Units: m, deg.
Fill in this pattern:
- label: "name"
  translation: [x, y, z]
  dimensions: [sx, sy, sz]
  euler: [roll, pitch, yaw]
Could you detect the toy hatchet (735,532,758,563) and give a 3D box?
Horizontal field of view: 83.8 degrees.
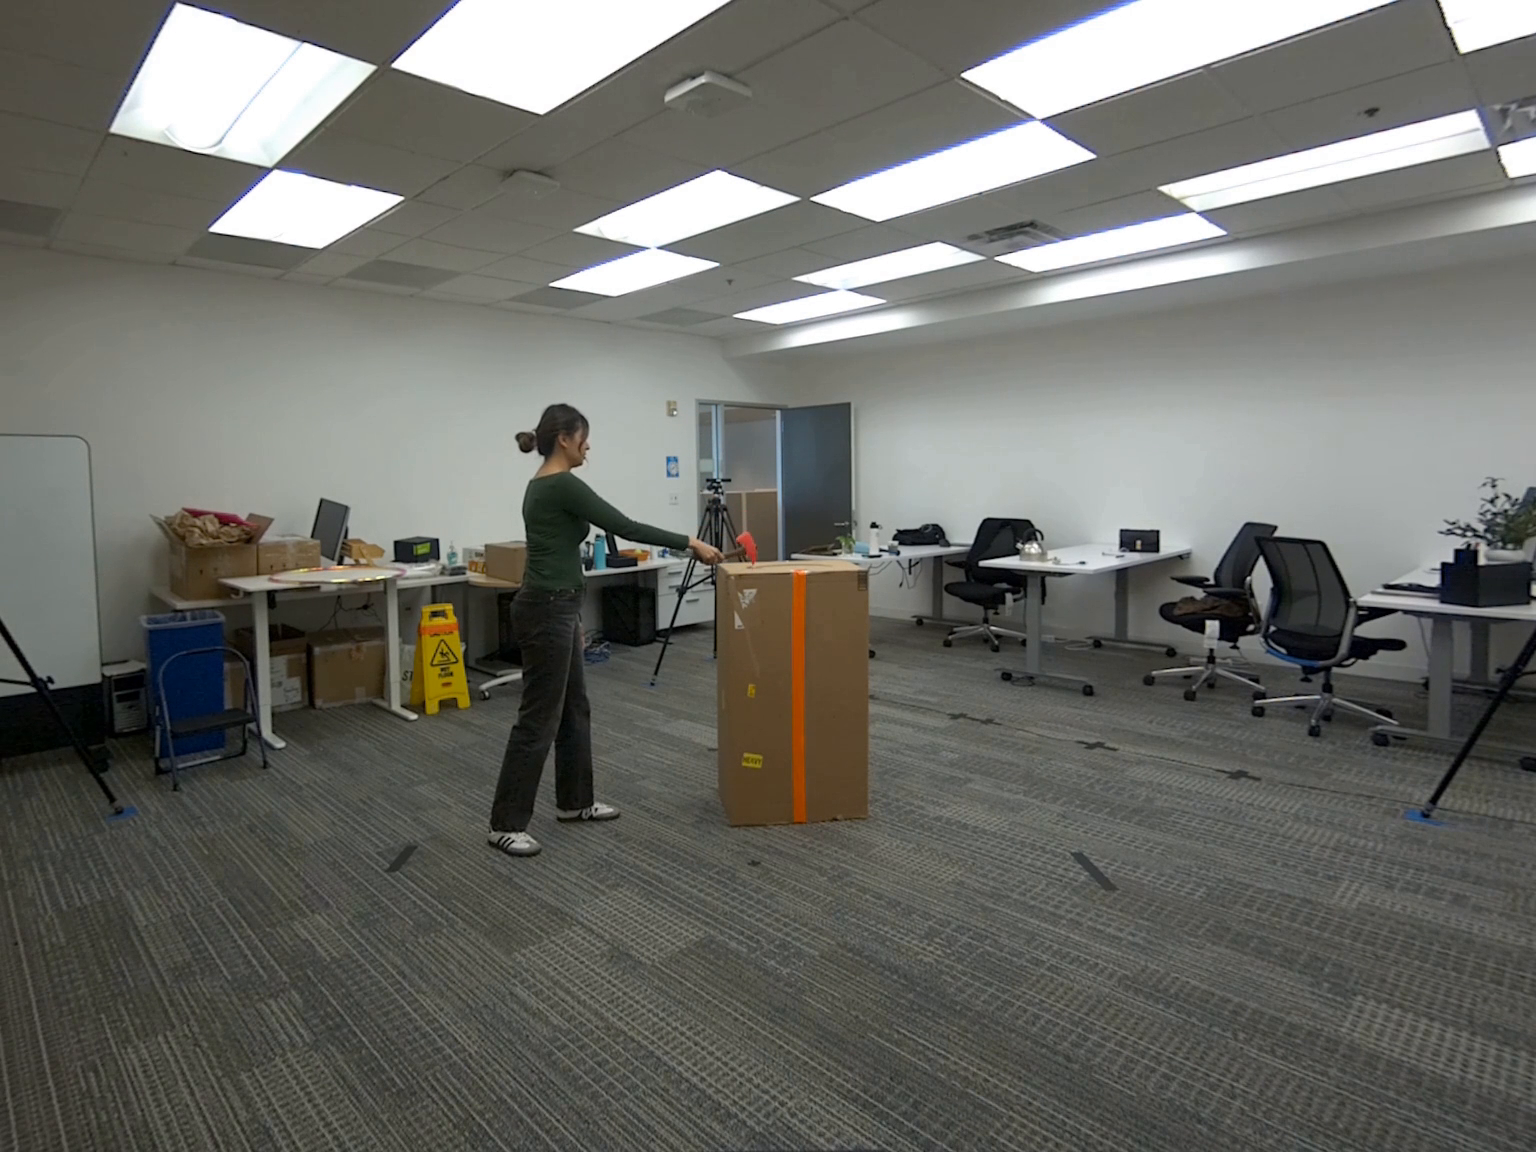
- label: "toy hatchet"
  translation: [-0.170, -0.129, 3.392]
  dimensions: [0.266, 0.129, 0.030]
  euler: [4, 14, -12]
